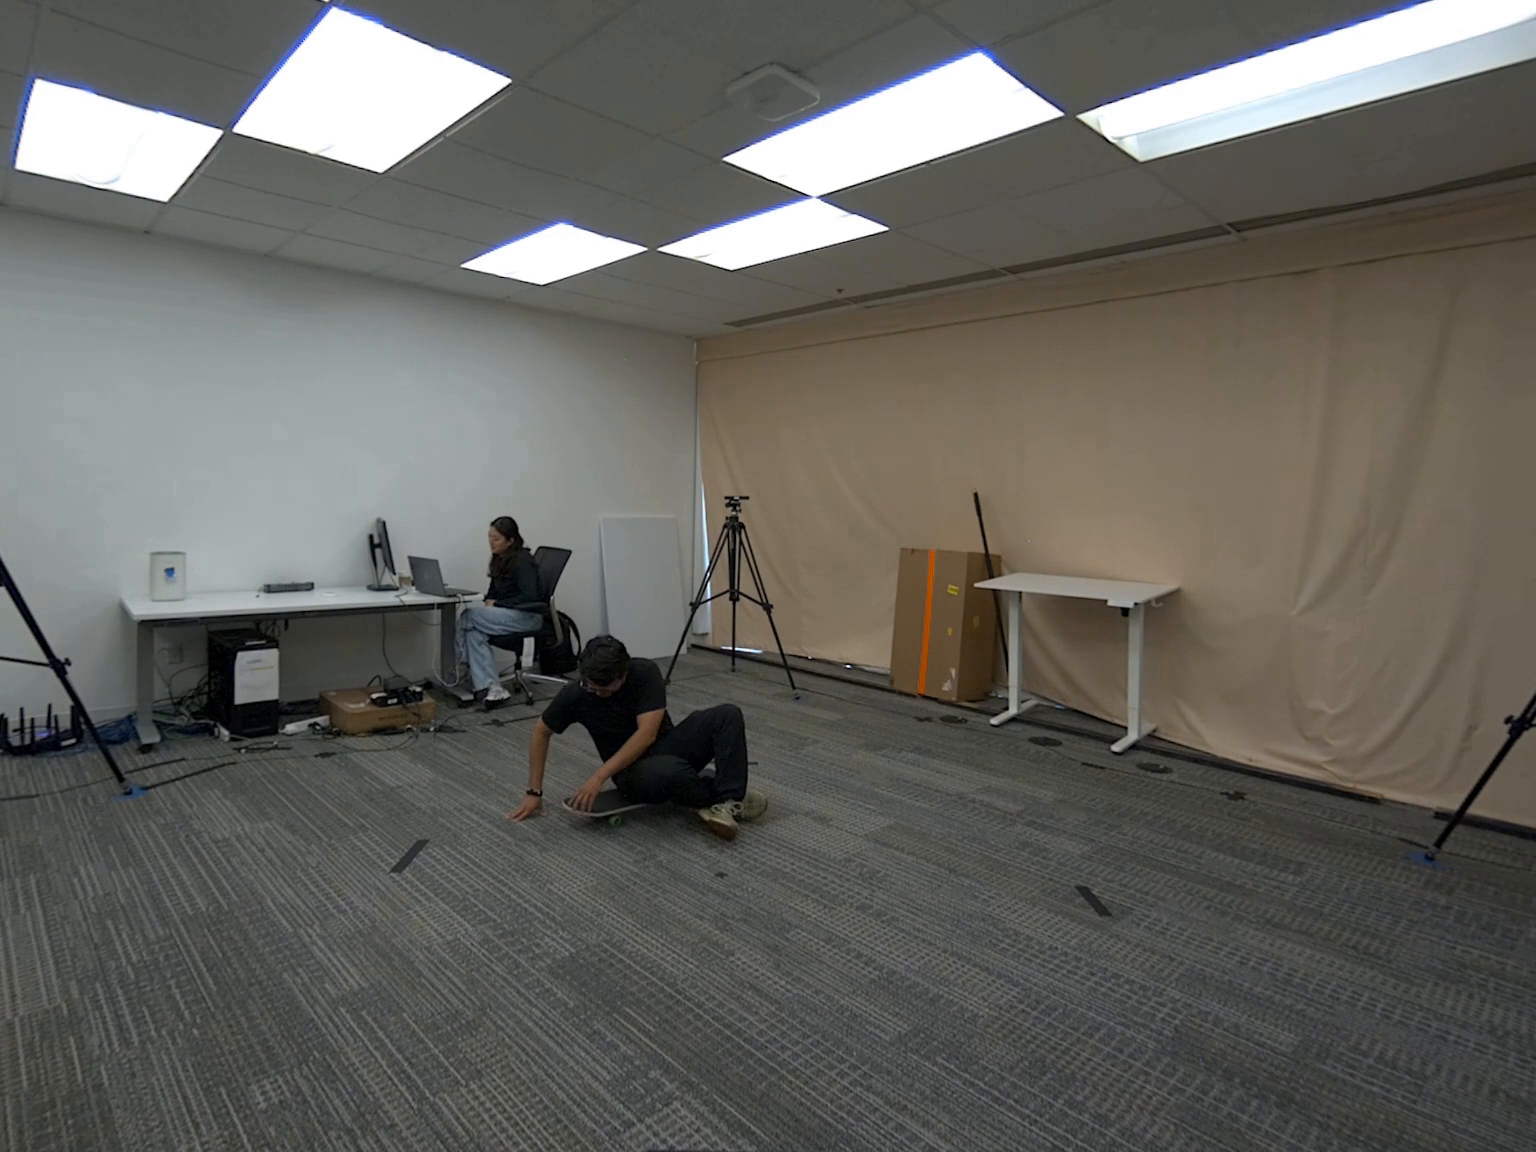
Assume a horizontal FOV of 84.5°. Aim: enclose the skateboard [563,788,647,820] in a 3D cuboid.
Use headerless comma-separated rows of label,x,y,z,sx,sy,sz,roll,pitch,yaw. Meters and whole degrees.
skateboard,-0.552,0.982,3.721,0.767,0.110,0.199,-2,9,-40
